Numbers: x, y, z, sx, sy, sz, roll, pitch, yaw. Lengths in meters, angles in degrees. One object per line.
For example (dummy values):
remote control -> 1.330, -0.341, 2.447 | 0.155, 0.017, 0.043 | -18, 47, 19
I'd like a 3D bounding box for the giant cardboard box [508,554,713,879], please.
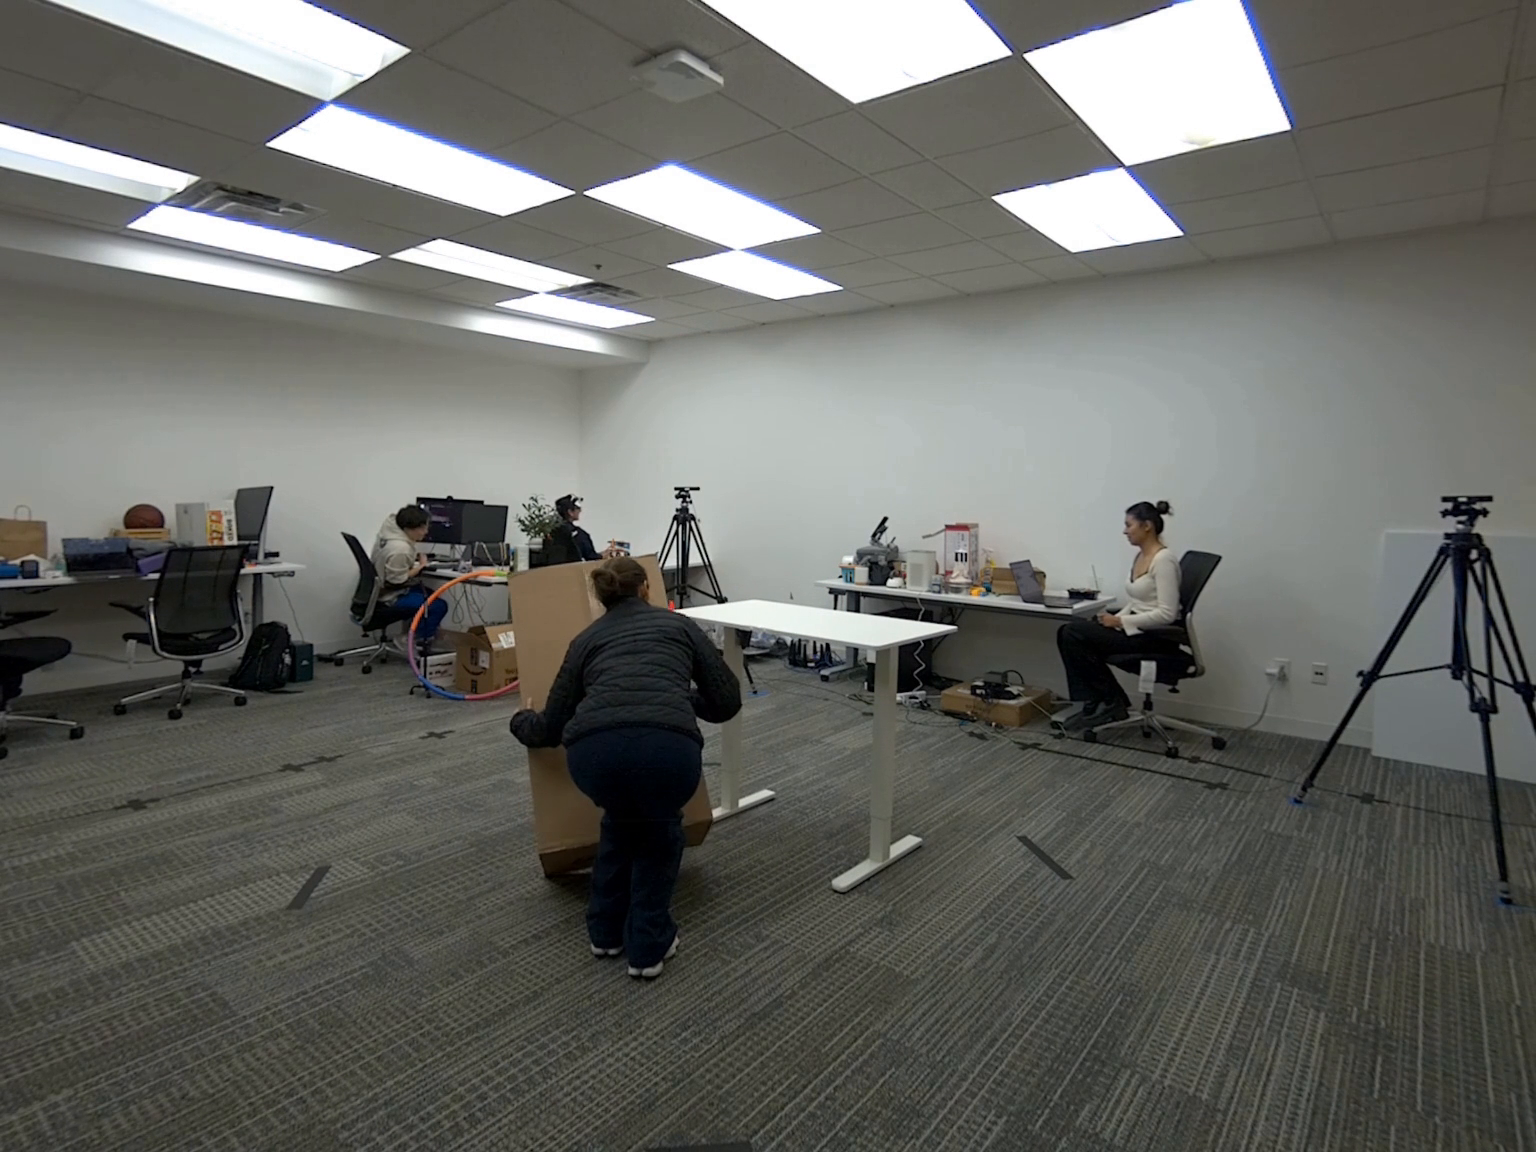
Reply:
giant cardboard box -> -0.595, 0.488, 3.176 | 0.571, 1.057, 0.418 | -9, -28, -12
